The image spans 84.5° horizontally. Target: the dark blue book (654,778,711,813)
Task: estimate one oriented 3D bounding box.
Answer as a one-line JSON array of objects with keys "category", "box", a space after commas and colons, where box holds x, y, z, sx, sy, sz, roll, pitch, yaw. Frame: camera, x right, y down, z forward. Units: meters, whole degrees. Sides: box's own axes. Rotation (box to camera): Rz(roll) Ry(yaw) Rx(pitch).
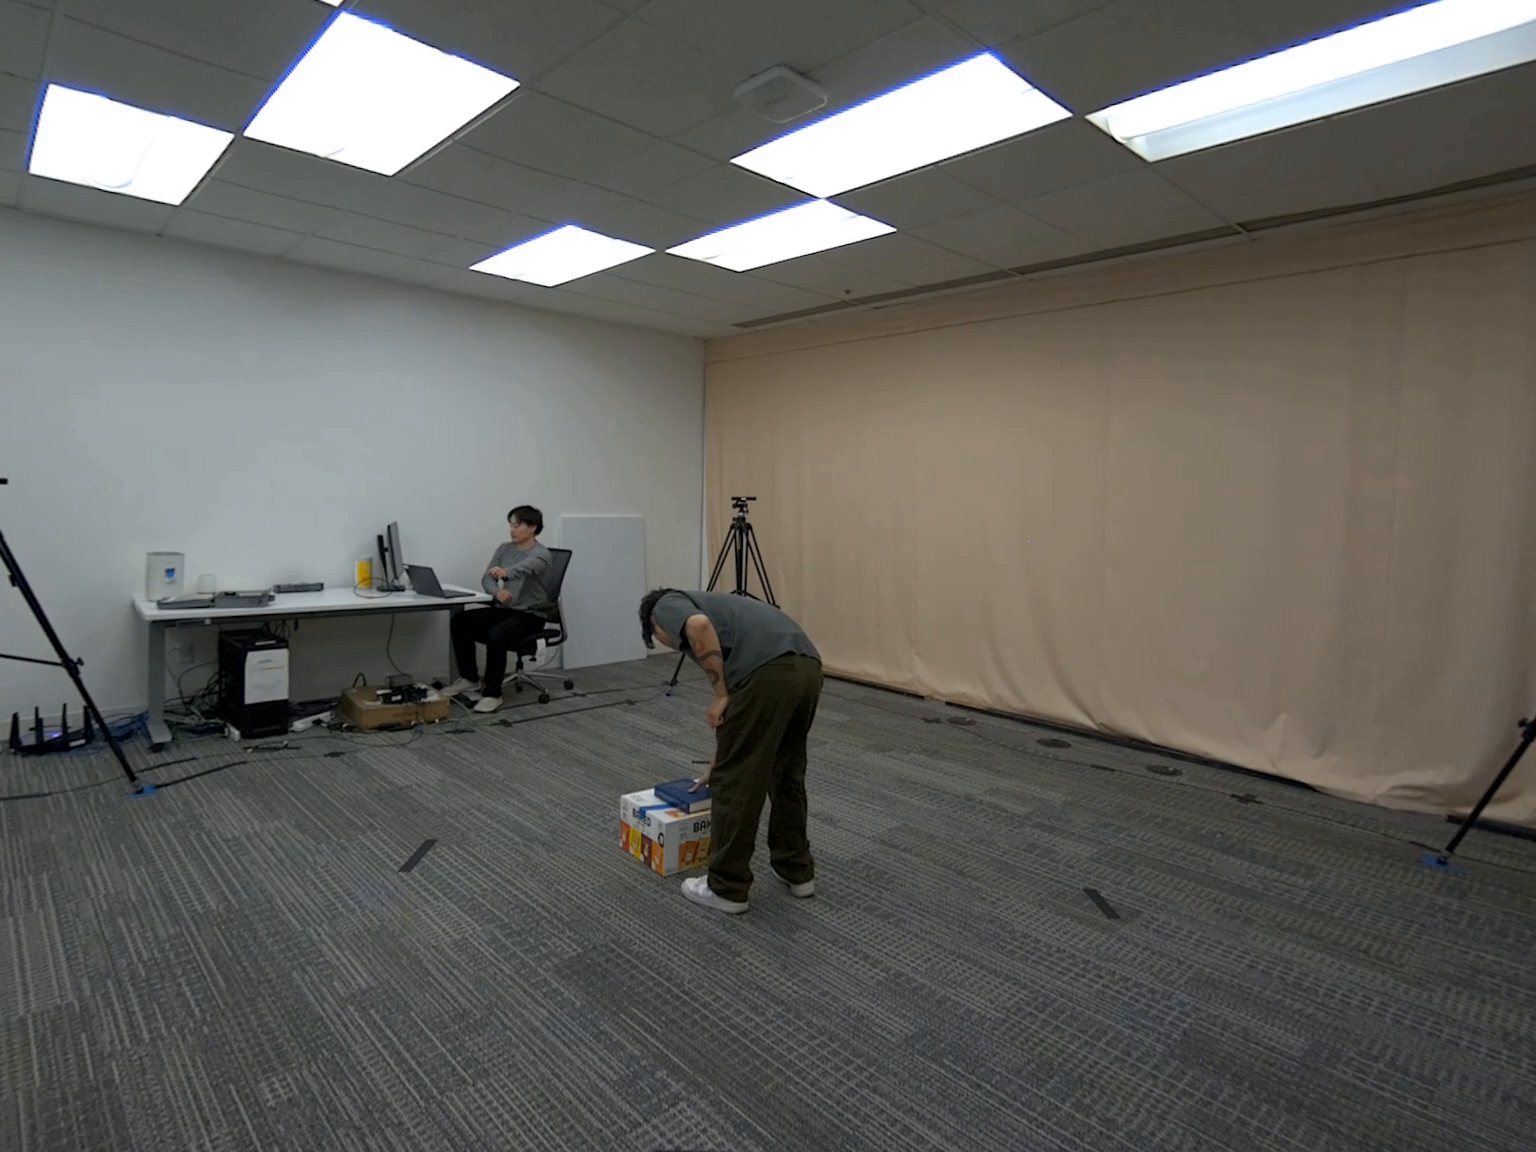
[{"category": "dark blue book", "box": [-0.335, 0.875, 3.332, 0.160, 0.045, 0.251, -2, 6, -37]}]
